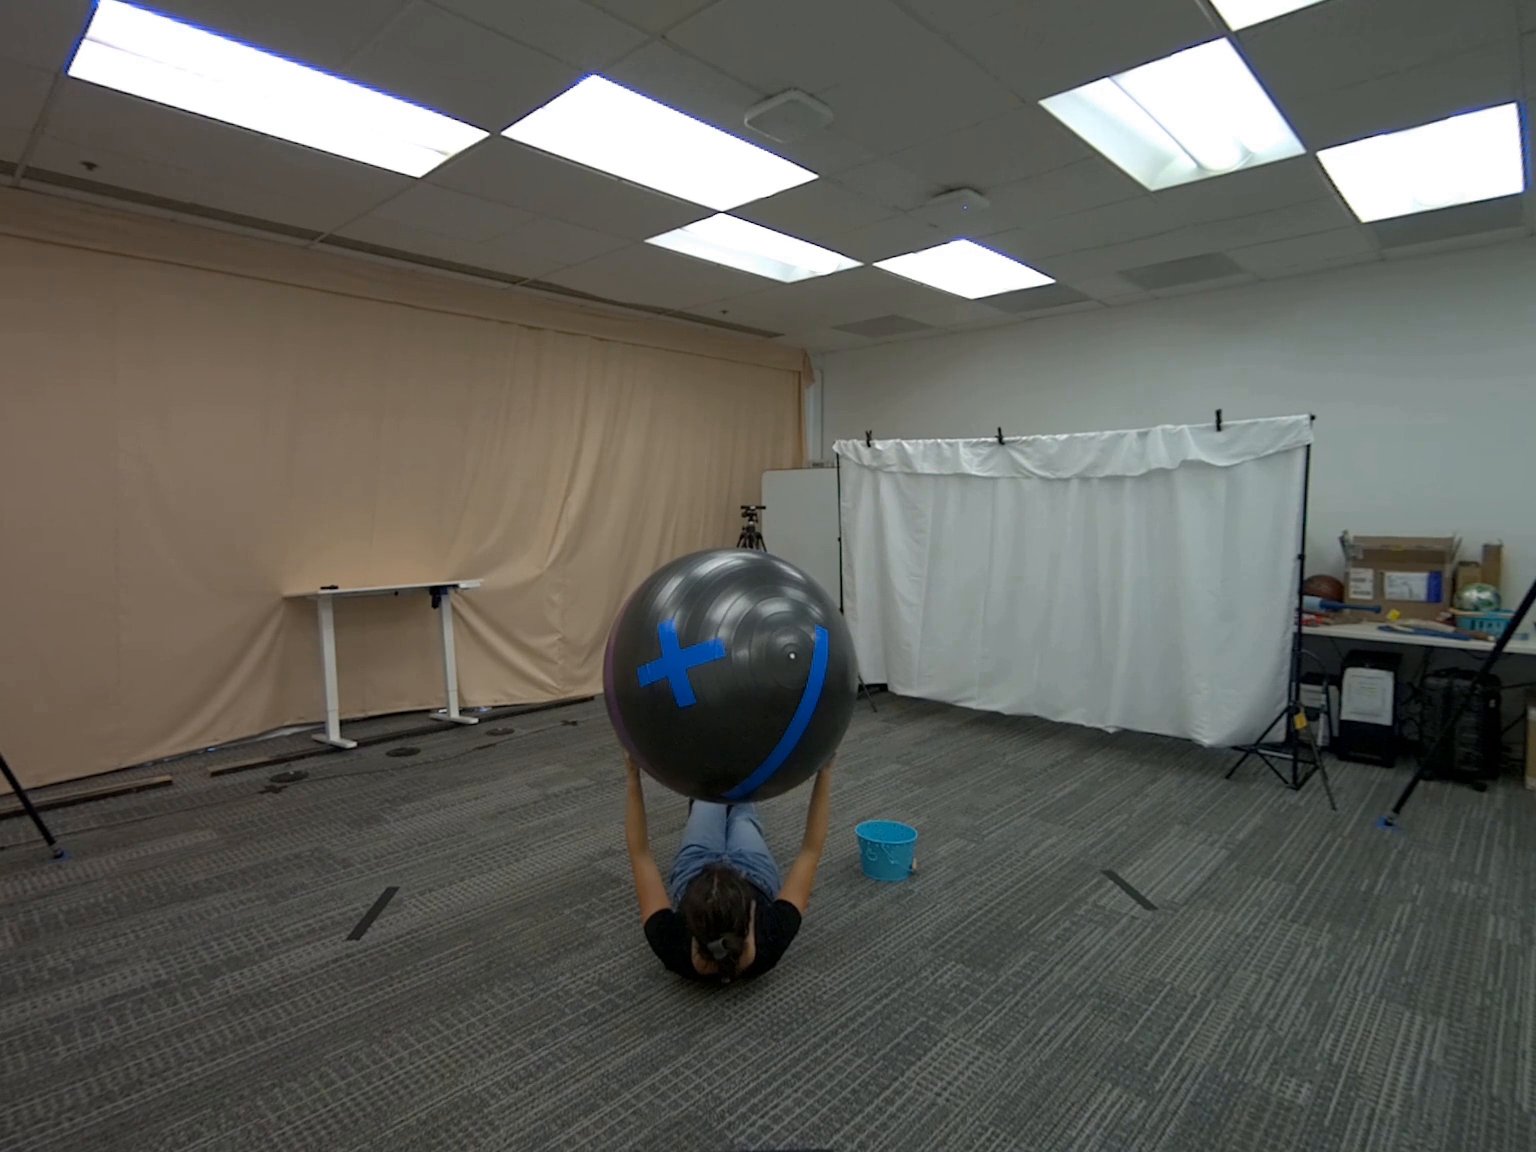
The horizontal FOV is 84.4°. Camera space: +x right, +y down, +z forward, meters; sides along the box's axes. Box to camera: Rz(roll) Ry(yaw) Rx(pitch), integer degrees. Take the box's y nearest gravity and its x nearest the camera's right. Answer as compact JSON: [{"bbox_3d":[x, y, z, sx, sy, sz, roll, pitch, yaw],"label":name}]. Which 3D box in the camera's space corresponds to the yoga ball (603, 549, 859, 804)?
[{"bbox_3d":[-0.110,0.299,2.525,0.757,0.756,0.760,0,4,-2],"label":"yoga ball"}]
